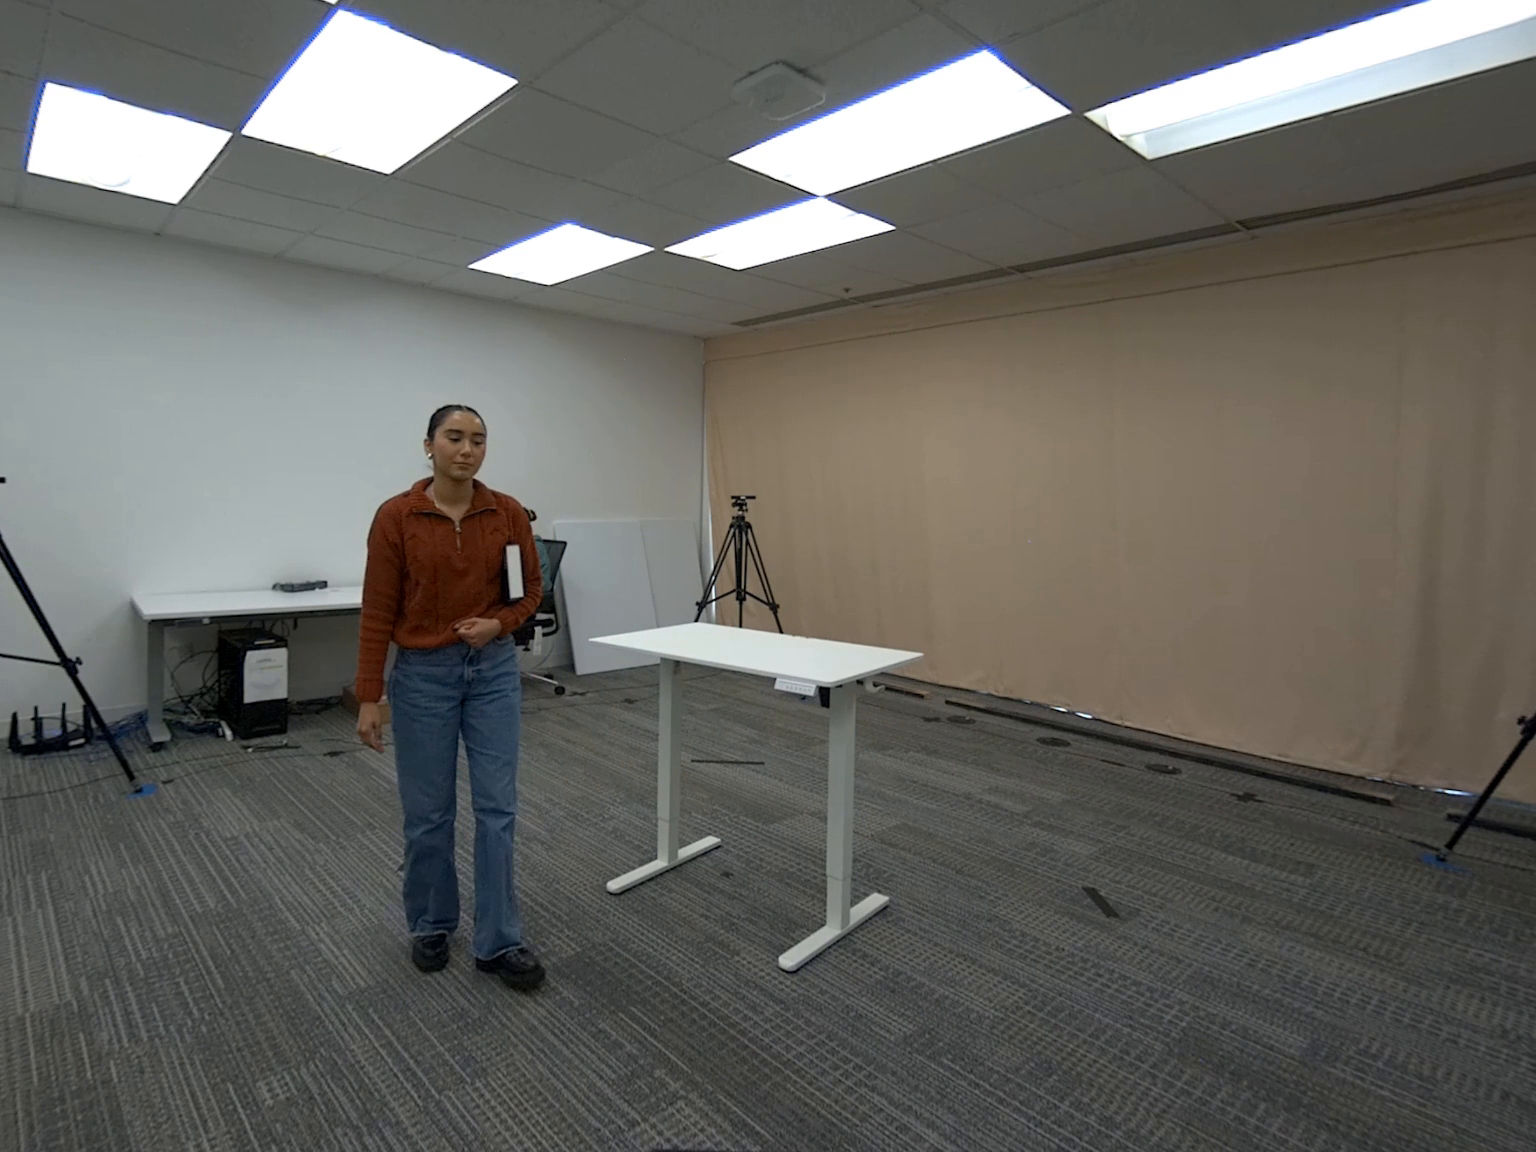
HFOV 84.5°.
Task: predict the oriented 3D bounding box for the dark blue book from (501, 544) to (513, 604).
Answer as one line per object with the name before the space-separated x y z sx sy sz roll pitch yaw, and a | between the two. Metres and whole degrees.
dark blue book | -0.799 0.017 2.448 0.044 0.165 0.246 -4 -10 -21
